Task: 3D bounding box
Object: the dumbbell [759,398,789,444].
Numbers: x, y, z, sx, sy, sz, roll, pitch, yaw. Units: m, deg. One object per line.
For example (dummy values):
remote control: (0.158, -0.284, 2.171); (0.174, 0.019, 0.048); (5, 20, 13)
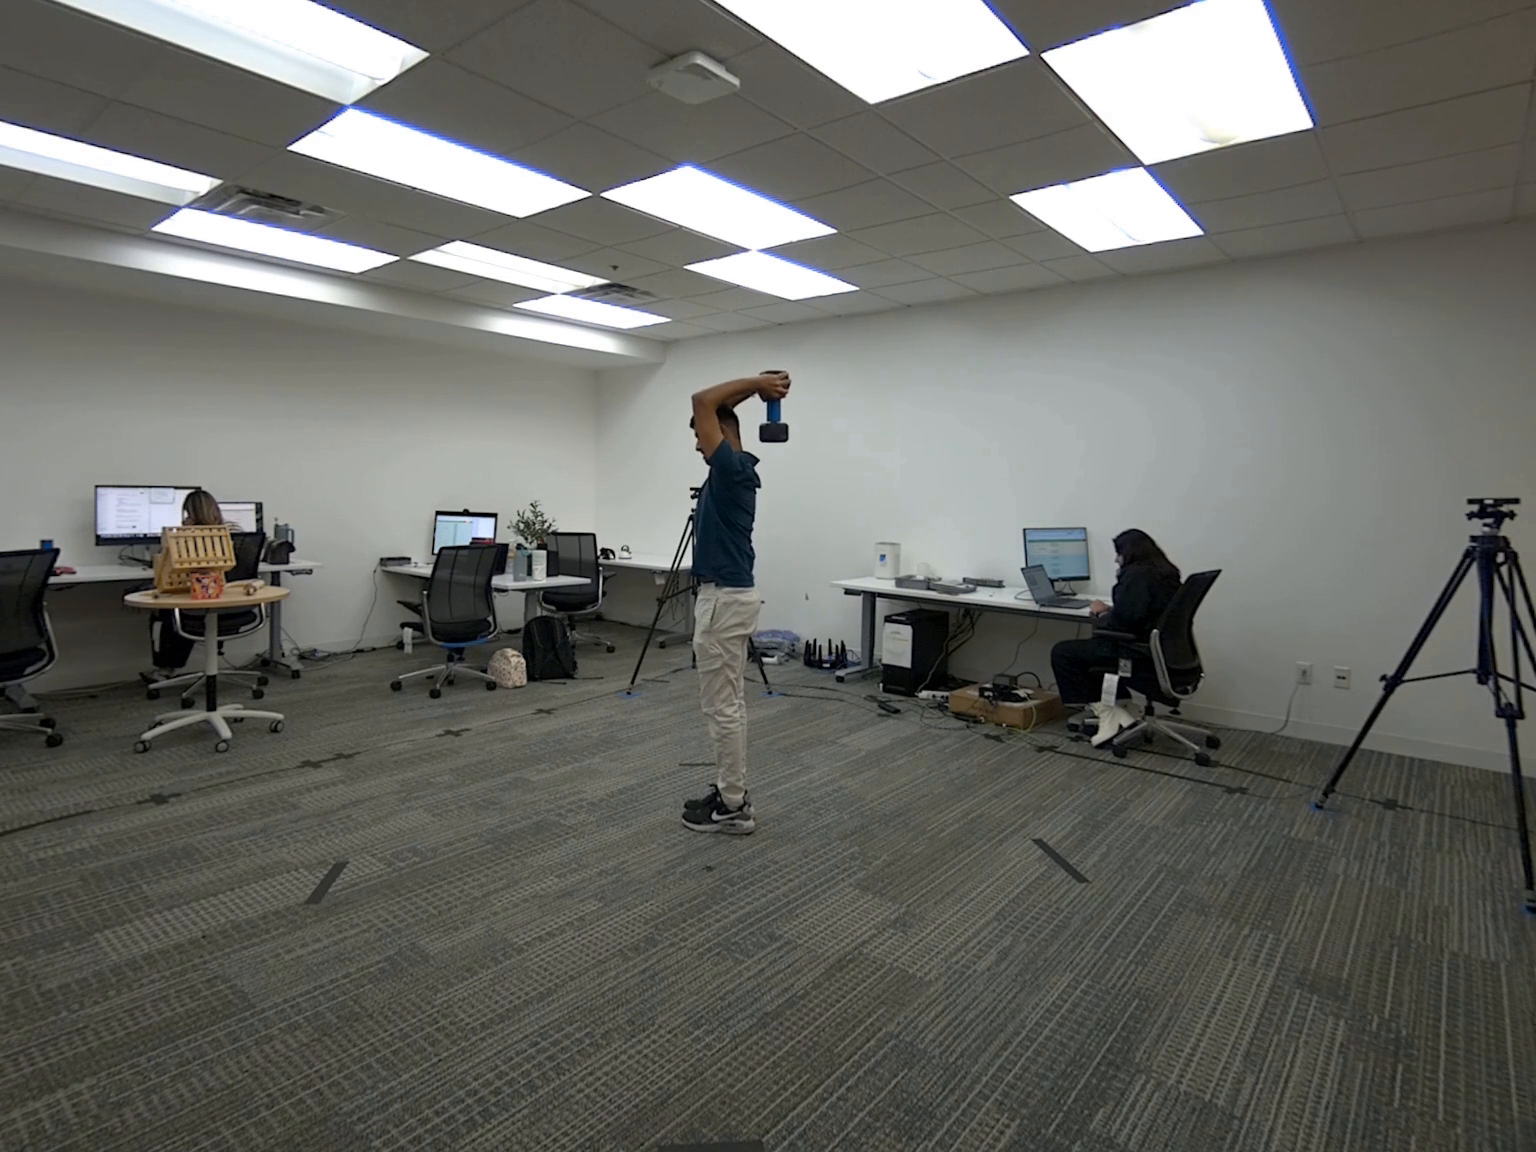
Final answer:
dumbbell: (0.007, -0.702, 3.515); (0.124, 0.293, 0.108); (-2, 3, 10)
